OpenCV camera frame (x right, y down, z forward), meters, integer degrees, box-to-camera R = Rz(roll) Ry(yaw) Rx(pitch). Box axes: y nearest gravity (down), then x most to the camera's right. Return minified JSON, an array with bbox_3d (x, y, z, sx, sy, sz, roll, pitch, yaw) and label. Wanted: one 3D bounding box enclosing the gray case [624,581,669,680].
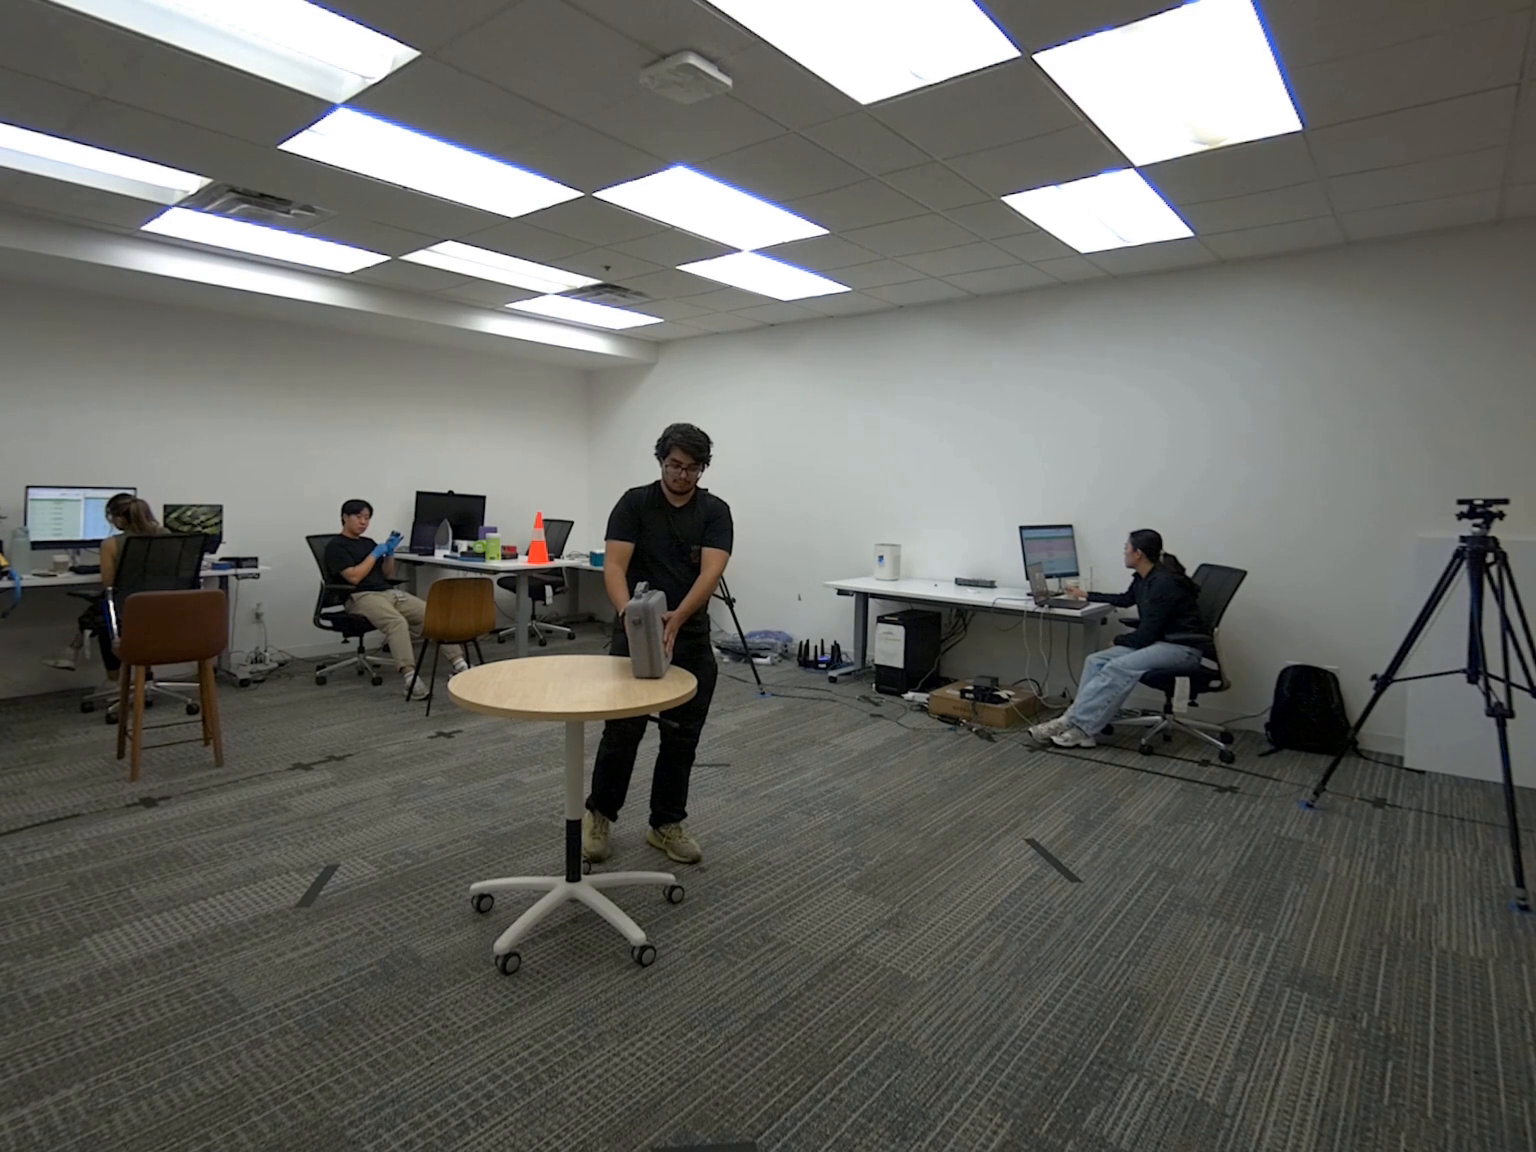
[{"bbox_3d":[-0.412,0.189,2.794,0.104,0.259,0.259,-13,6,-3],"label":"gray case"}]
